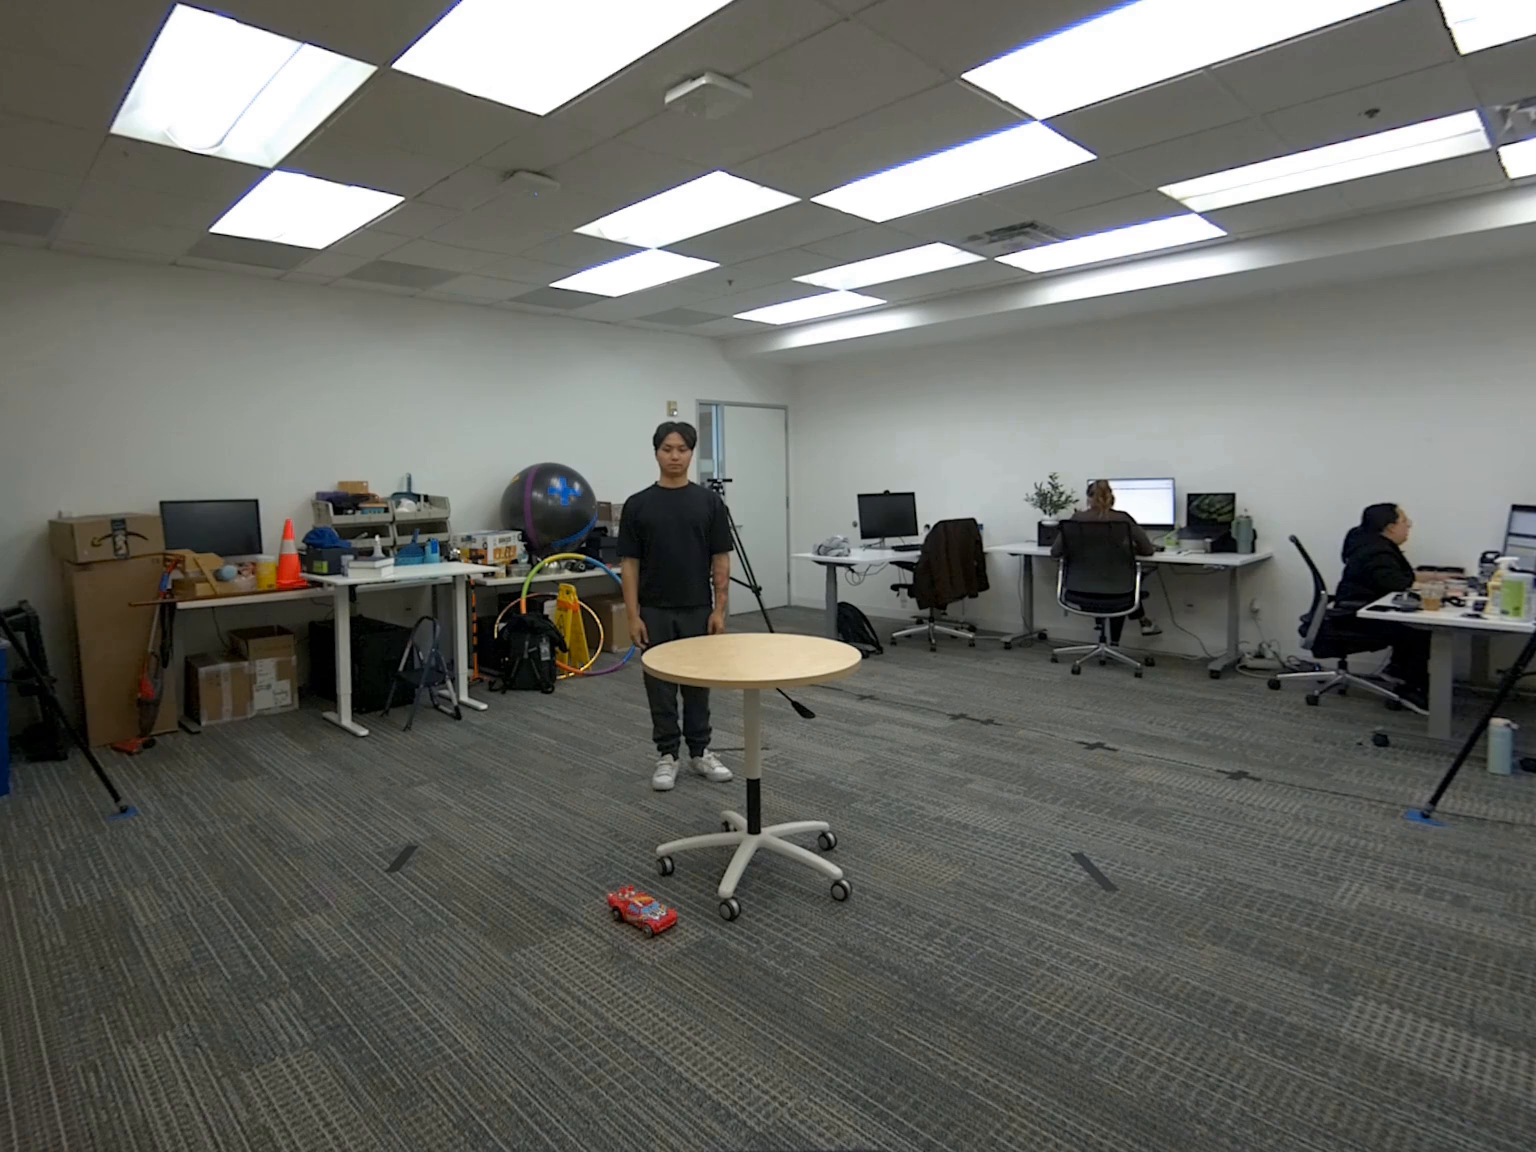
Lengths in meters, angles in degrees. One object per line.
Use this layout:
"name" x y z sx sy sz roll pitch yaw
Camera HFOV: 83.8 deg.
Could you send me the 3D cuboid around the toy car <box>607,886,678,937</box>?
"toy car" -0.414 1.069 2.722 0.264 0.082 0.127 19 18 40
